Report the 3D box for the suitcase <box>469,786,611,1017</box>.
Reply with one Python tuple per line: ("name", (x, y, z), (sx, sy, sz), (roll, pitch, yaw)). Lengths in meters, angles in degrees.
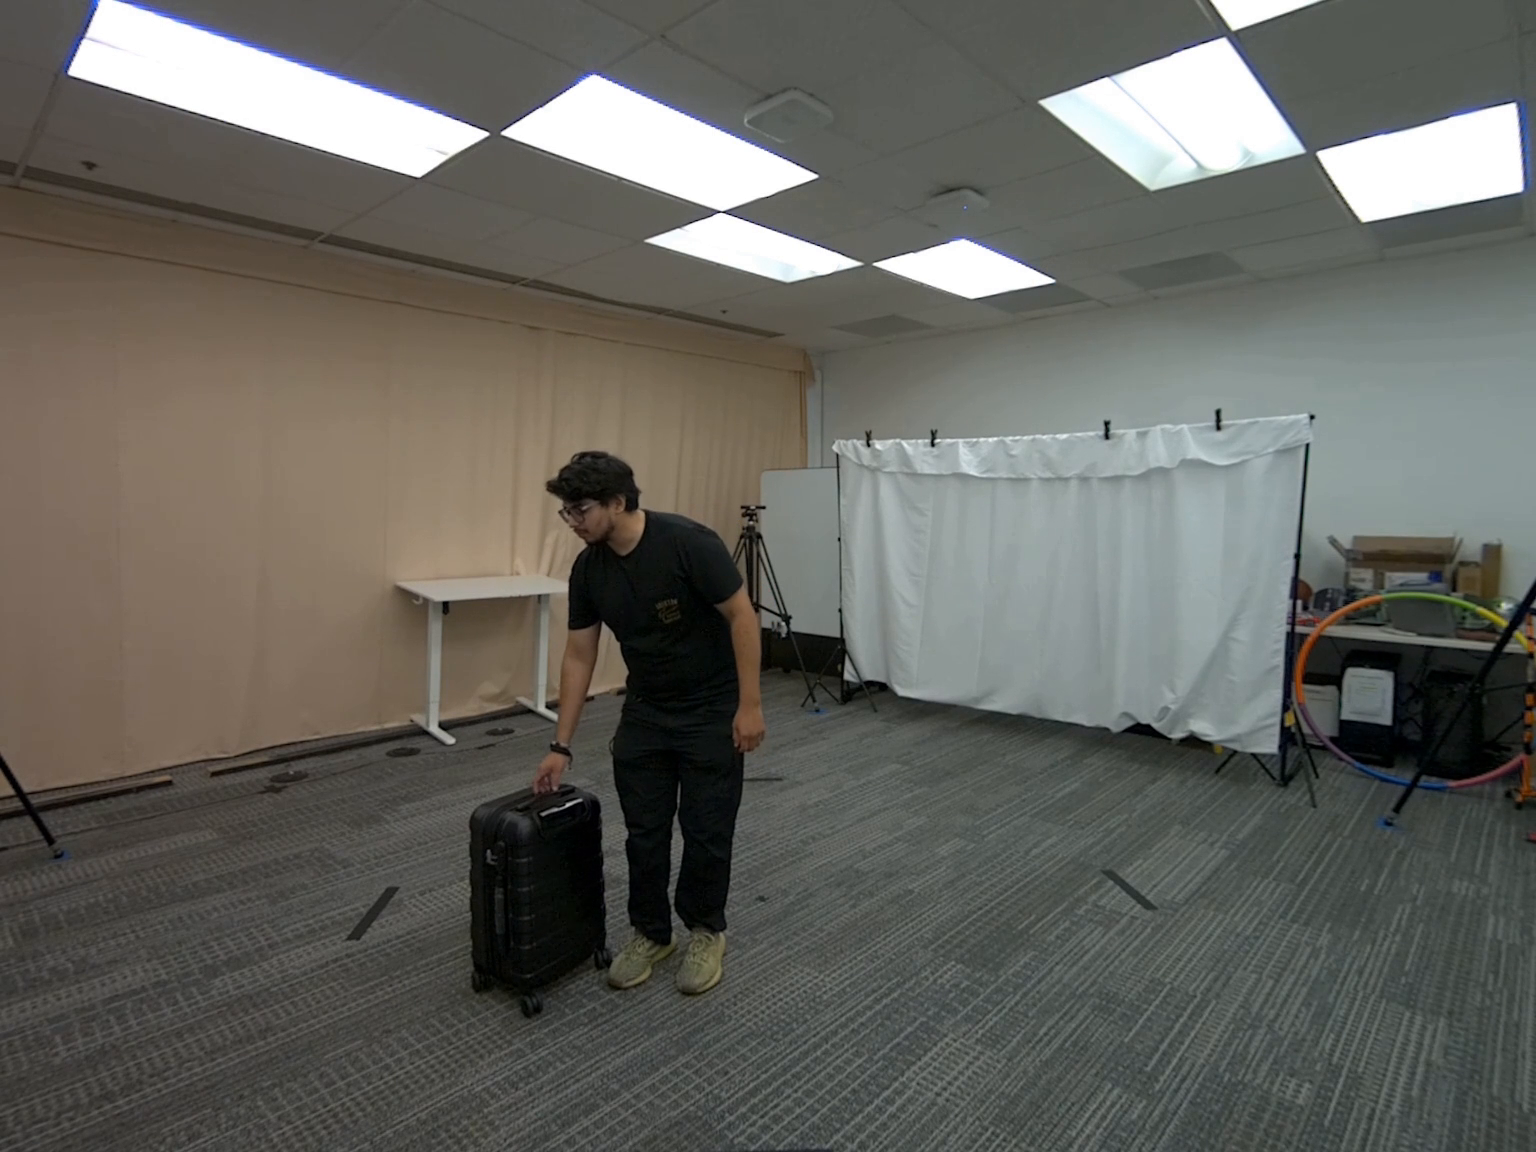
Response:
("suitcase", (-0.680, 0.917, 2.494), (0.255, 0.549, 0.365), (0, 1, 32))
